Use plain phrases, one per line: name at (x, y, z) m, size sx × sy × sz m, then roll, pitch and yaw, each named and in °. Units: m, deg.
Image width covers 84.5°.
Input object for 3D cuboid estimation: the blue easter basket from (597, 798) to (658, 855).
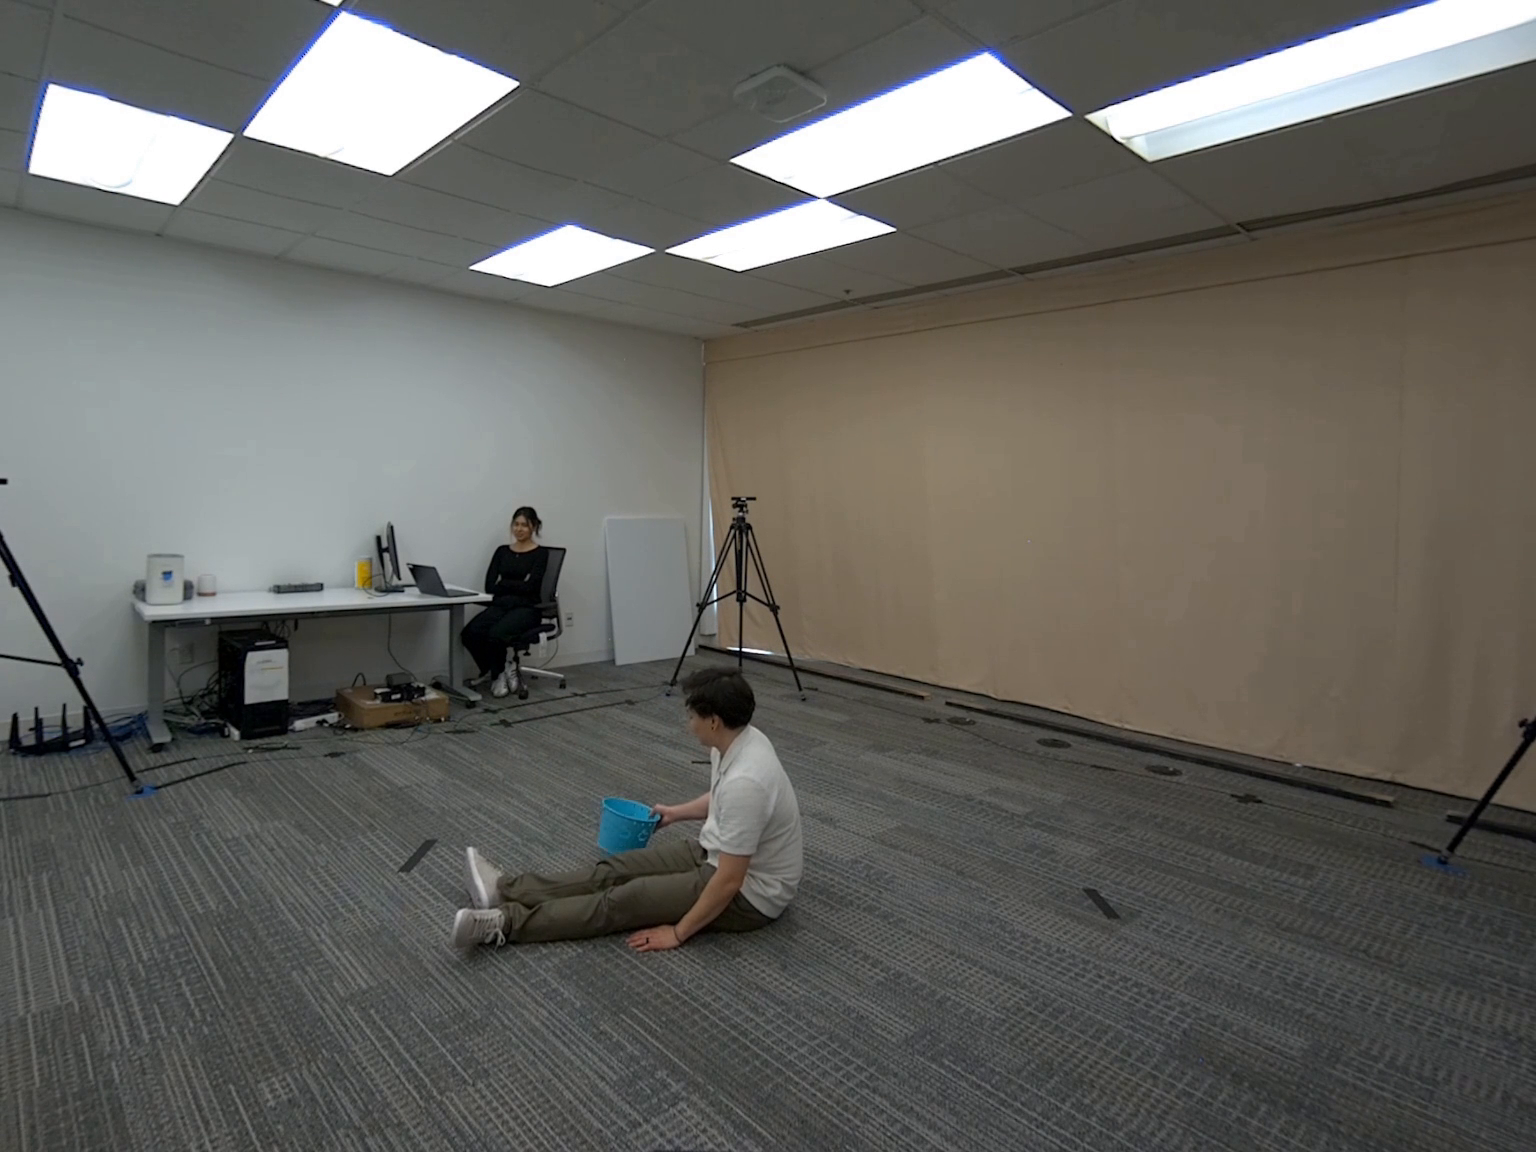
blue easter basket at (-0.546, 0.954, 3.202) m, size 0.243 × 0.156 × 0.243 m, roll 17°, pitch -1°, yaw -1°
